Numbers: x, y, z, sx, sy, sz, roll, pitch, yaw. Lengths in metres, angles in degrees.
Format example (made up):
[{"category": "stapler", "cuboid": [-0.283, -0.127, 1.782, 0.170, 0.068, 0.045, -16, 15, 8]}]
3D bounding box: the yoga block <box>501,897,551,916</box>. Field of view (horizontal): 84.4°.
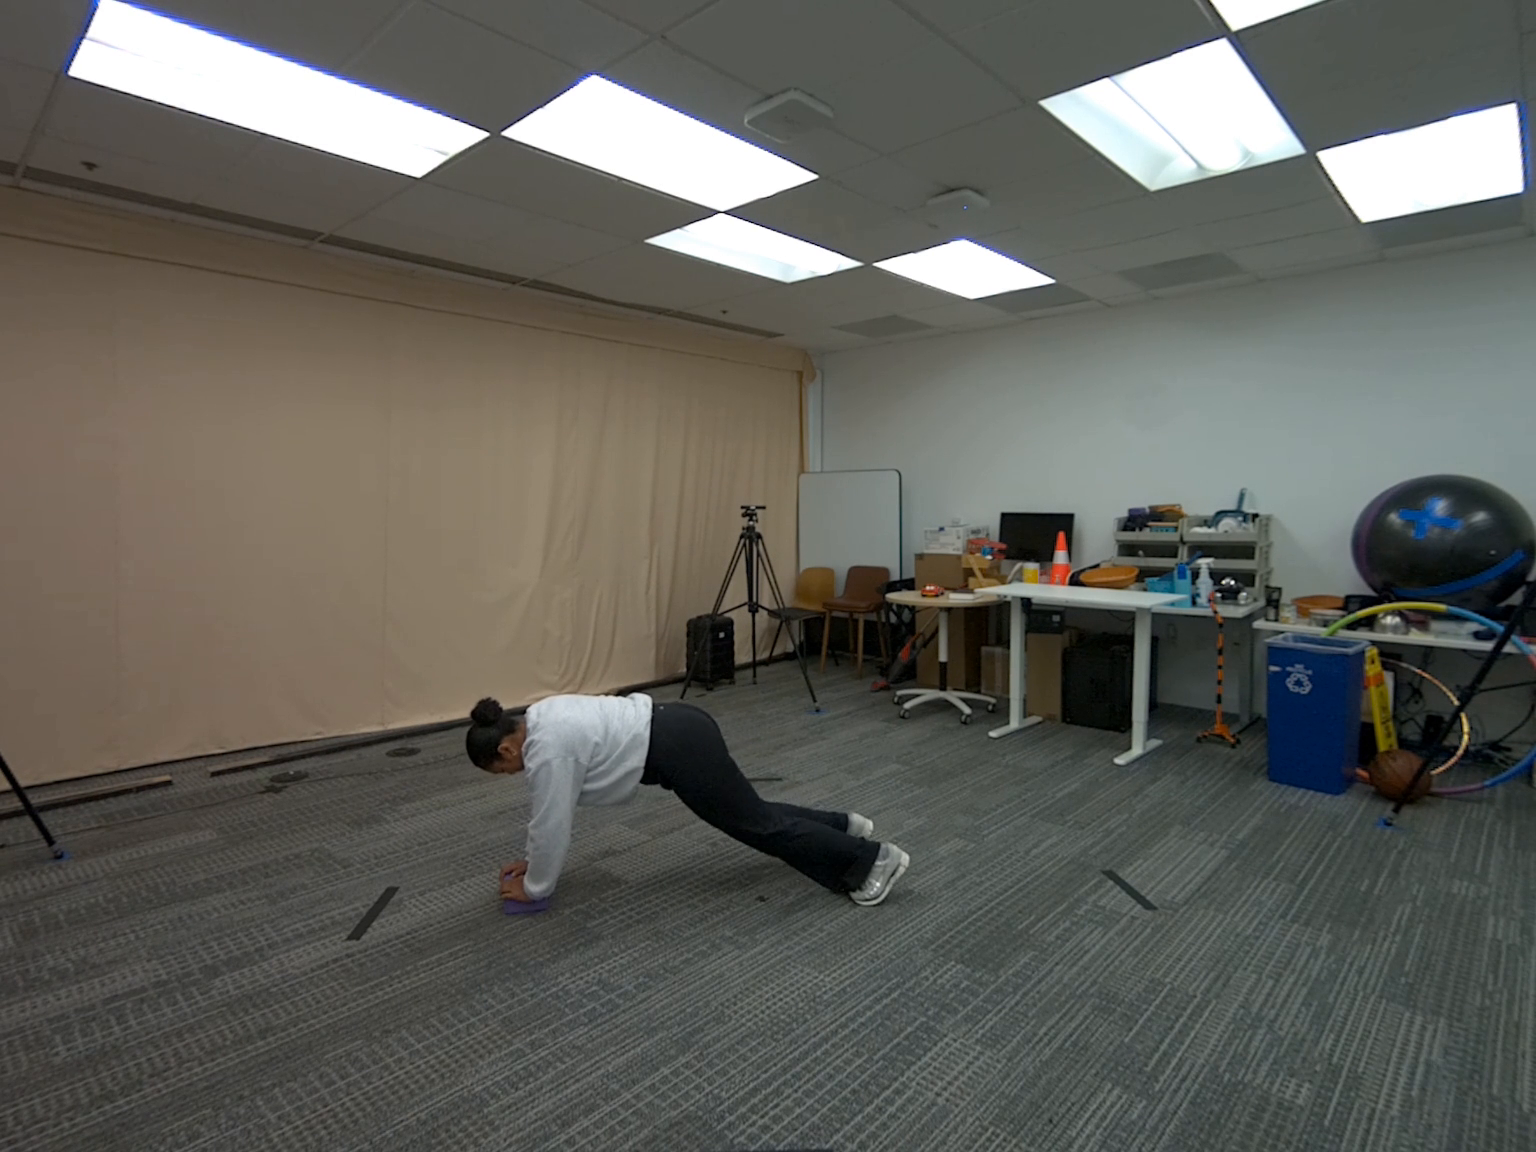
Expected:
[{"category": "yoga block", "cuboid": [-0.870, 1.123, 2.999, 0.146, 0.076, 0.234, -3, 6, -17]}]
